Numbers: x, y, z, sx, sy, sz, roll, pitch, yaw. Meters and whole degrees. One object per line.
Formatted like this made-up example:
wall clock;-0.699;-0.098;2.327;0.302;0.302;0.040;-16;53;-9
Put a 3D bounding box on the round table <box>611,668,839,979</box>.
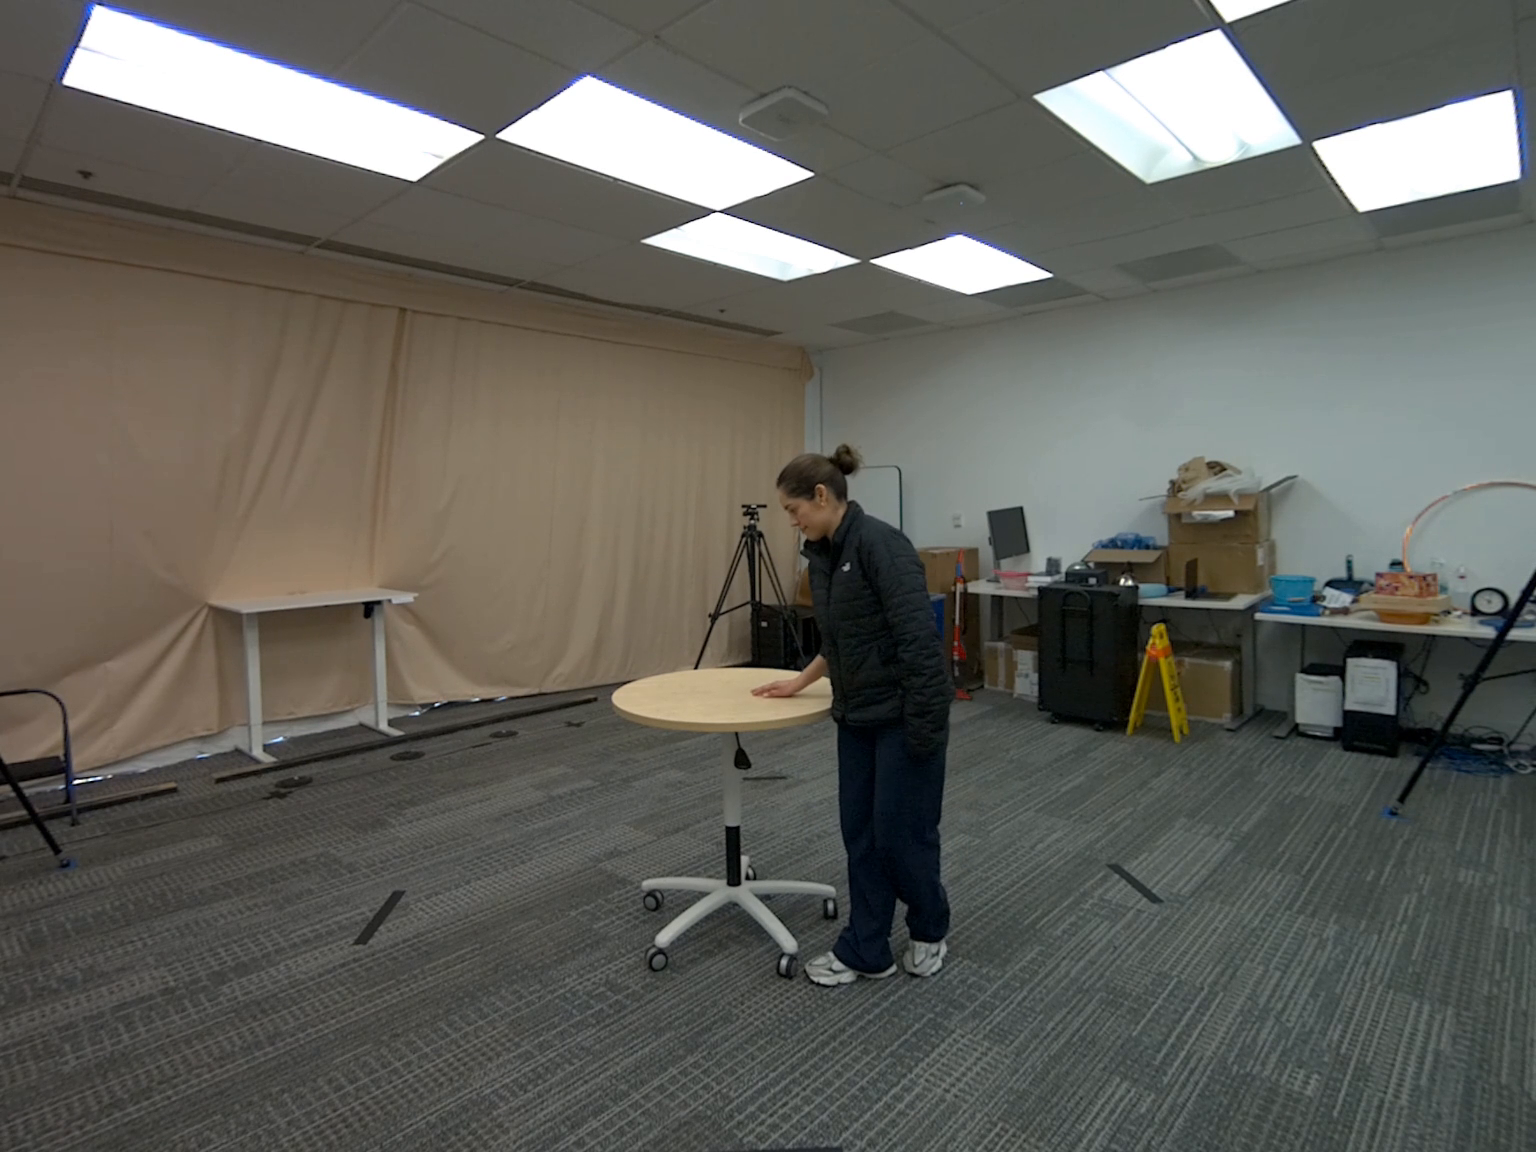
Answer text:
round table;-0.113;0.766;2.784;0.784;0.784;0.788;-1;4;-2
